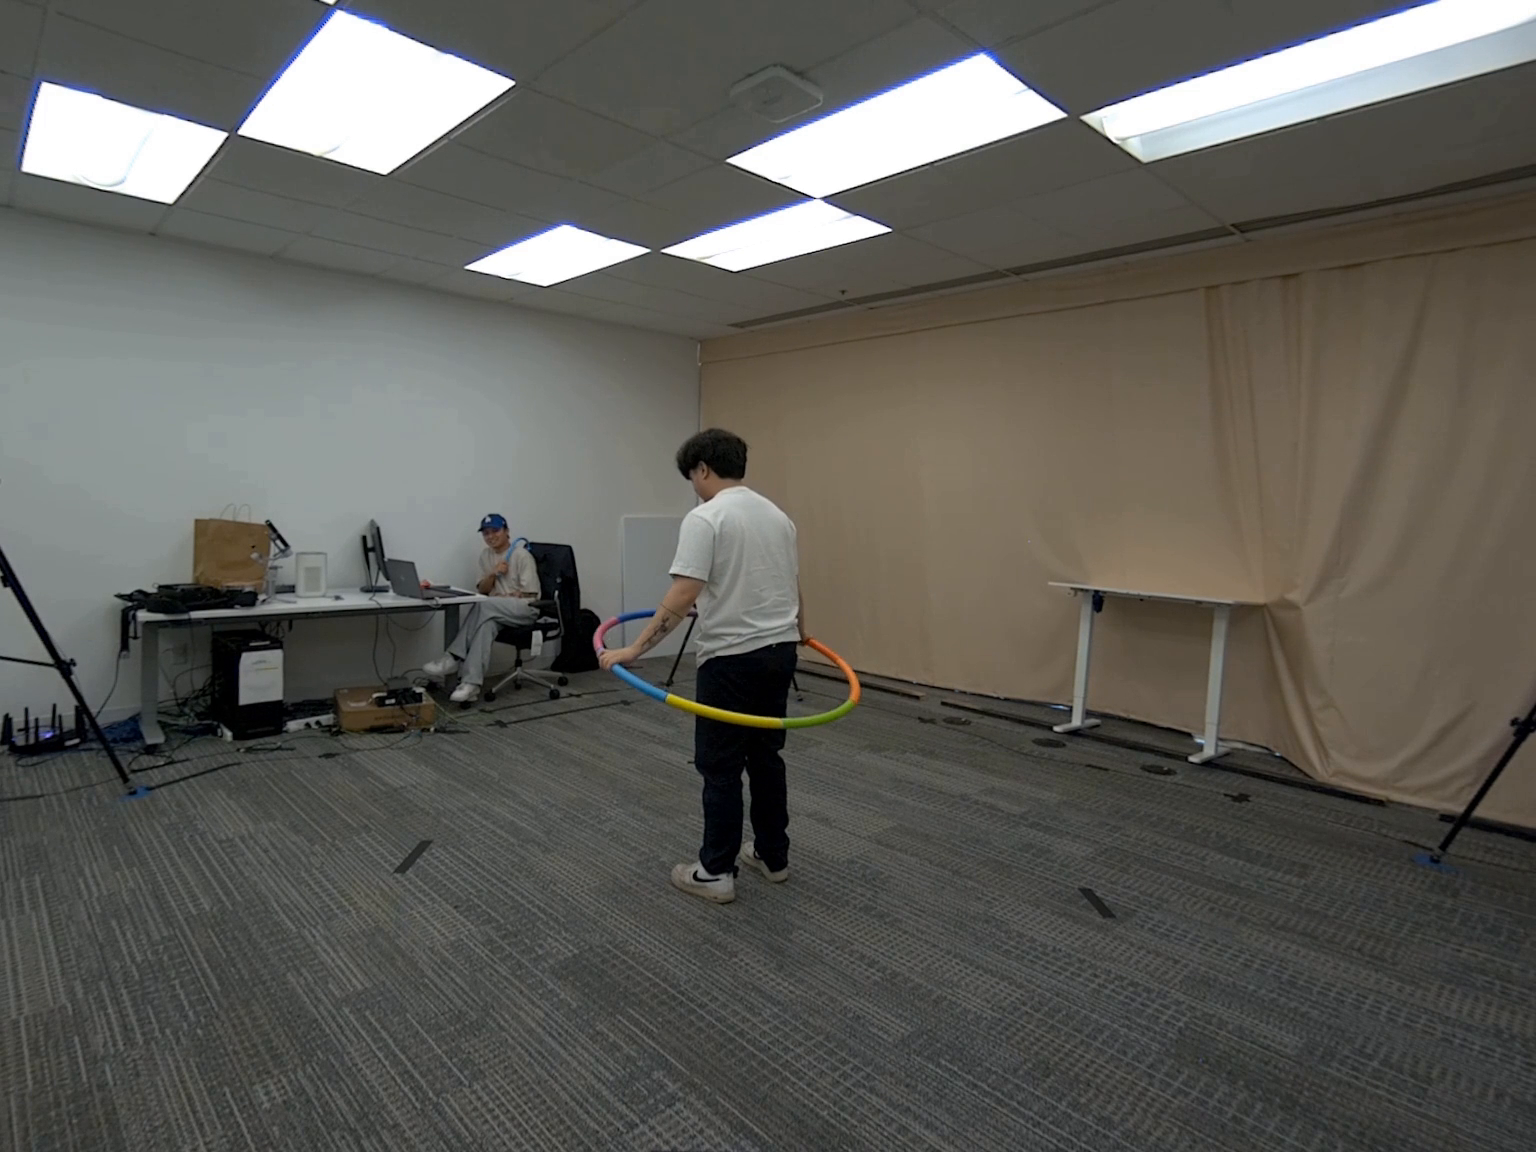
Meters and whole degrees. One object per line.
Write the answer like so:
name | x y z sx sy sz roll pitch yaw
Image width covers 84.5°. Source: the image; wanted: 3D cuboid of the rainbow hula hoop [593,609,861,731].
rainbow hula hoop | -0.151 0.304 3.077 0.982 0.051 0.997 10 15 -4
